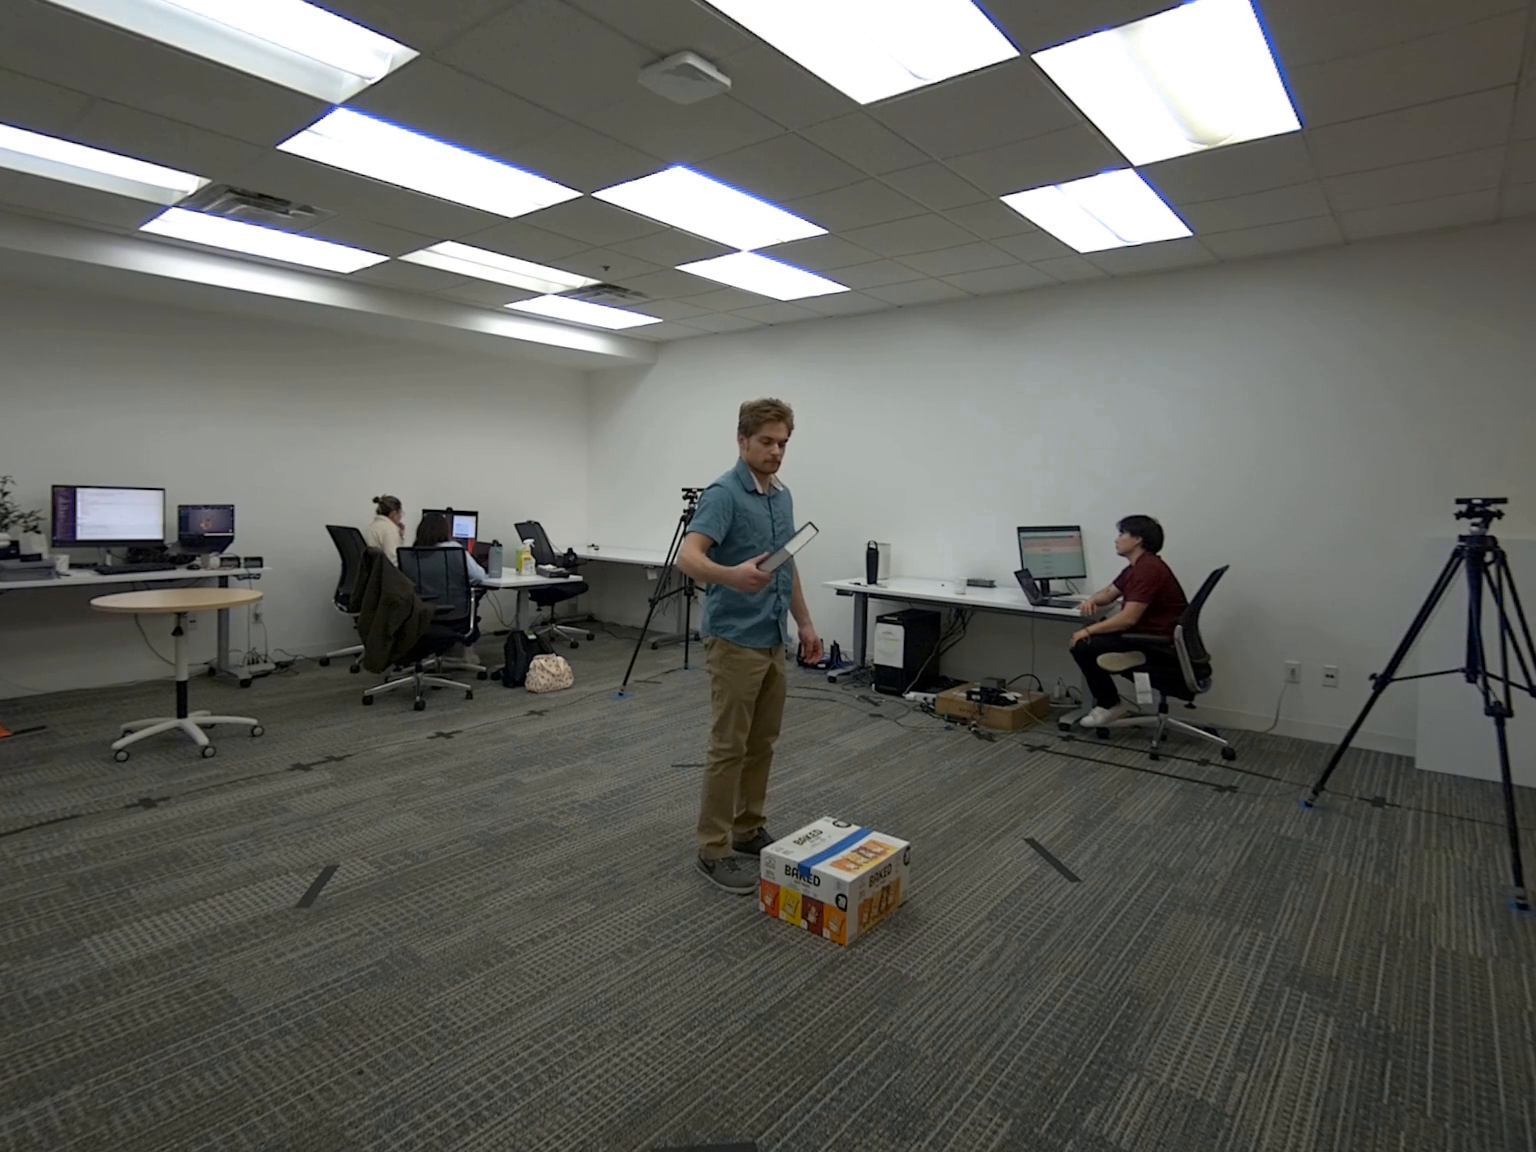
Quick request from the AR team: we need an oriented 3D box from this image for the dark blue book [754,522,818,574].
[{"bbox_3d":[0.021,-0.063,2.629,0.246,0.045,0.162,-37,5,46],"label":"dark blue book"}]
